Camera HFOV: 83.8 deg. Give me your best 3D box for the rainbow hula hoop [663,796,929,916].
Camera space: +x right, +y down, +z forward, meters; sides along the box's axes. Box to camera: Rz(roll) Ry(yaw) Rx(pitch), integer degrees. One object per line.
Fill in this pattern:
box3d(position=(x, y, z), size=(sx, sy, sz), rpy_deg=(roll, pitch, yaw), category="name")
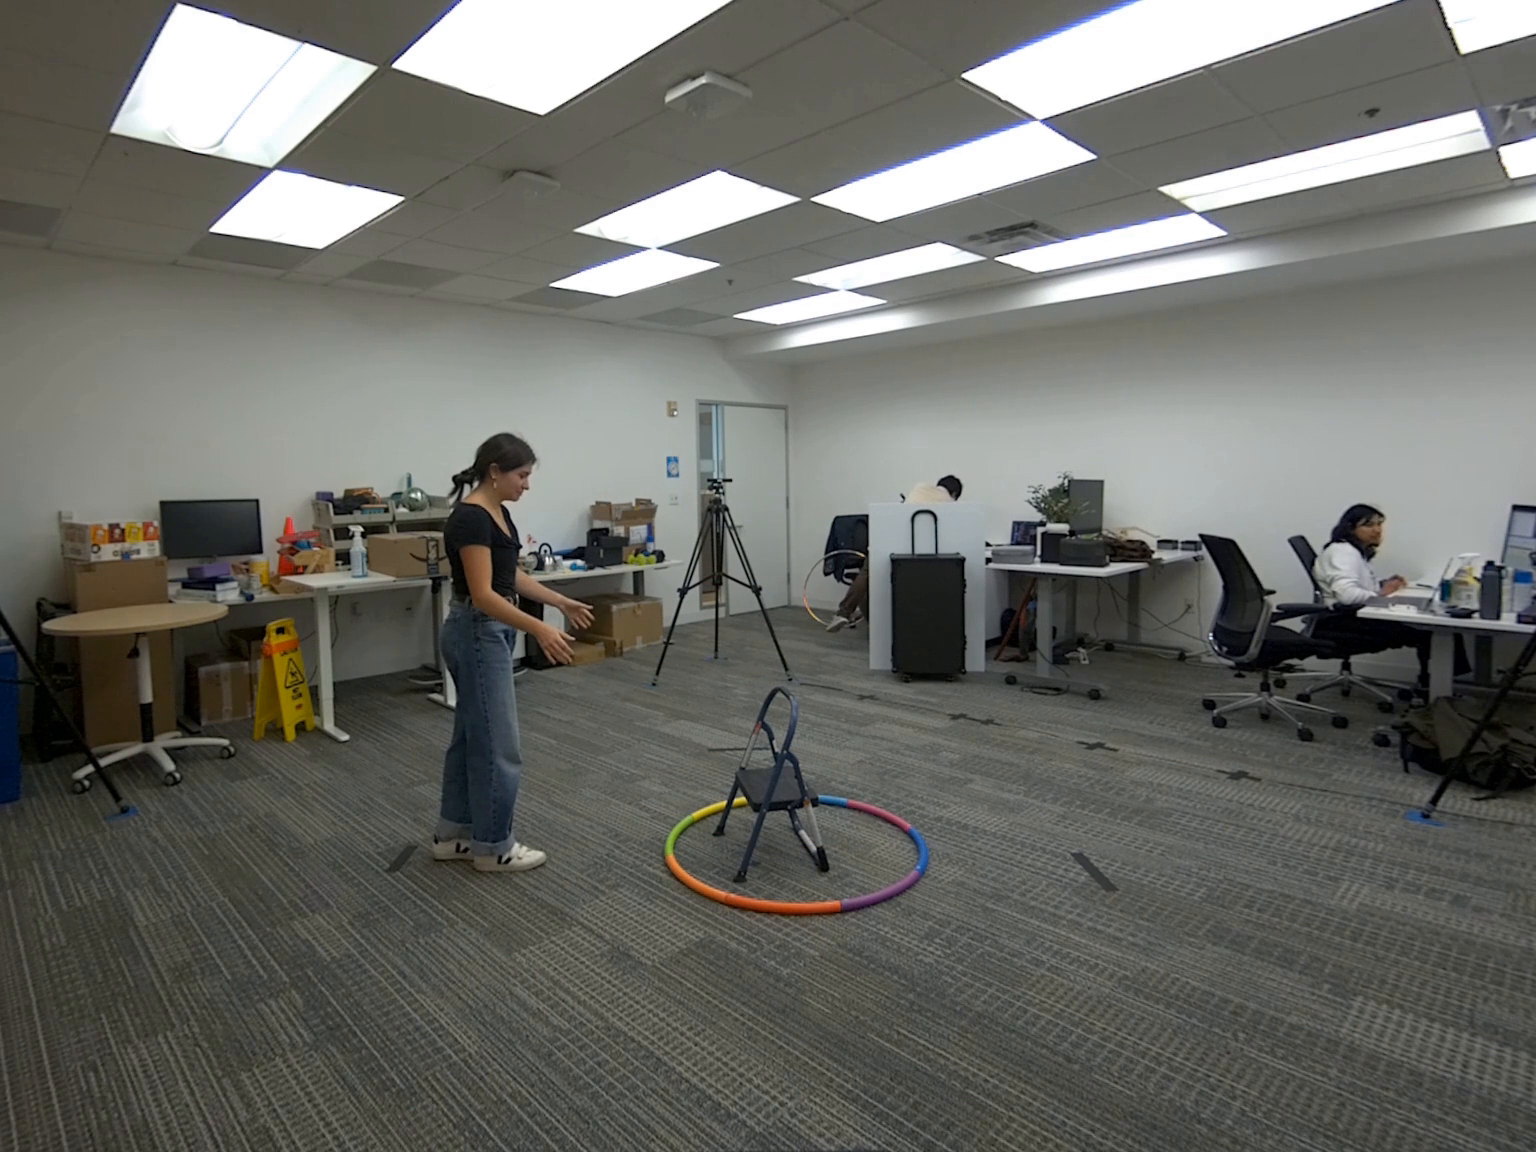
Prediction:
box3d(position=(0.097, 1.001, 3.222), size=(0.978, 0.035, 0.984), rpy_deg=(-1, 6, -2), category="rainbow hula hoop")
